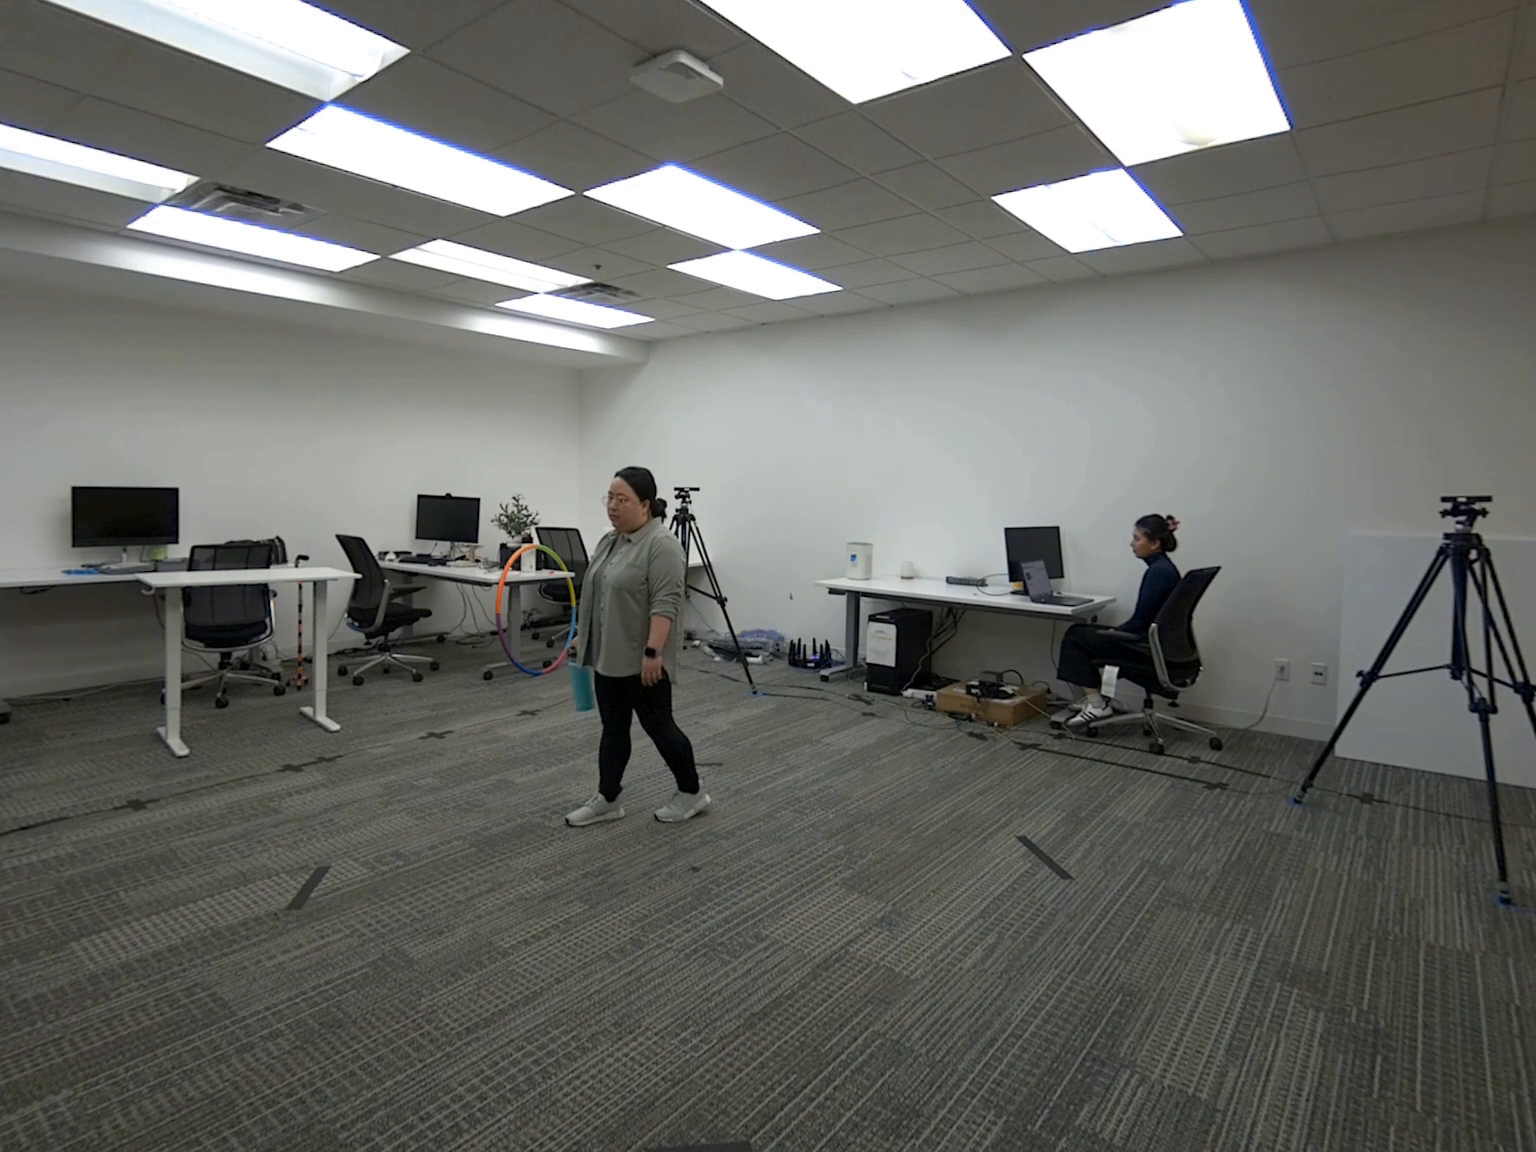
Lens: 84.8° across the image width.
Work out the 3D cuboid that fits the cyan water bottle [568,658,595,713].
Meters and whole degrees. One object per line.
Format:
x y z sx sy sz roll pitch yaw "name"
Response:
-0.851 0.450 3.773 0.092 0.281 0.093 -3 8 -1 "cyan water bottle"
